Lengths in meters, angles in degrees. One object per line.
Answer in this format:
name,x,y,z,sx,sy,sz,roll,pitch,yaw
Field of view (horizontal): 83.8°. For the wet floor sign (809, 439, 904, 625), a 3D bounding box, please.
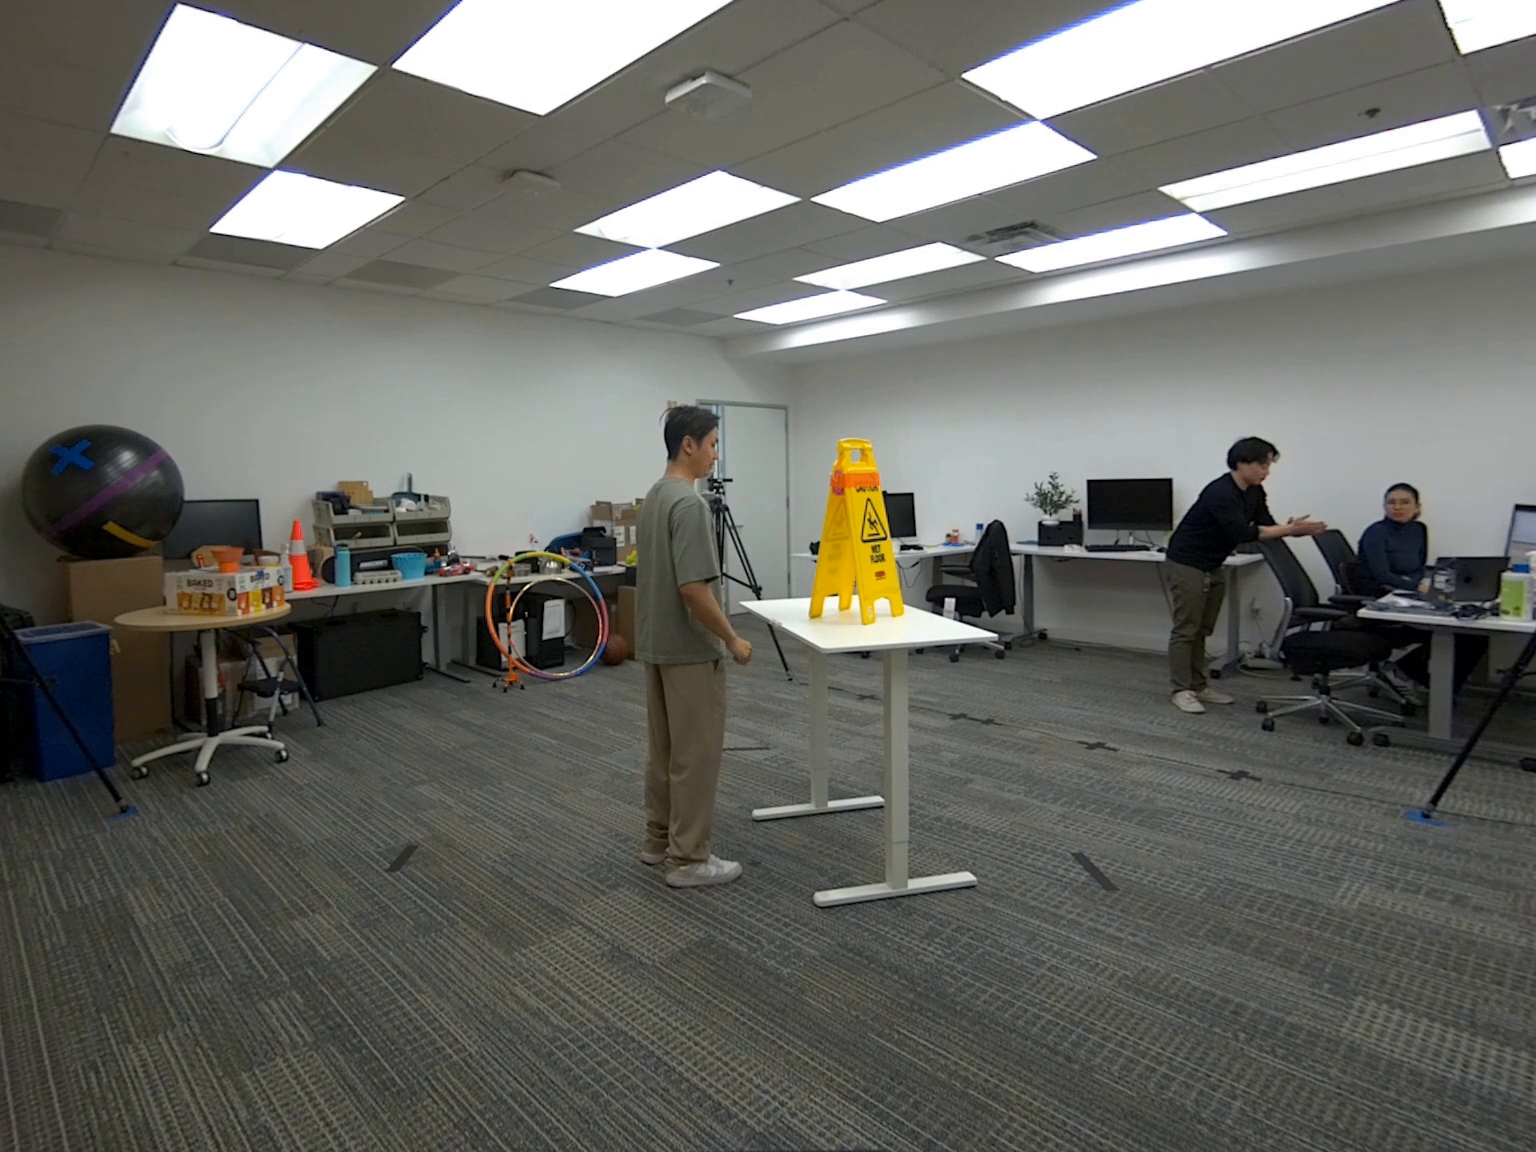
wet floor sign,0.325,-0.173,3.131,0.298,0.643,0.275,4,7,38
